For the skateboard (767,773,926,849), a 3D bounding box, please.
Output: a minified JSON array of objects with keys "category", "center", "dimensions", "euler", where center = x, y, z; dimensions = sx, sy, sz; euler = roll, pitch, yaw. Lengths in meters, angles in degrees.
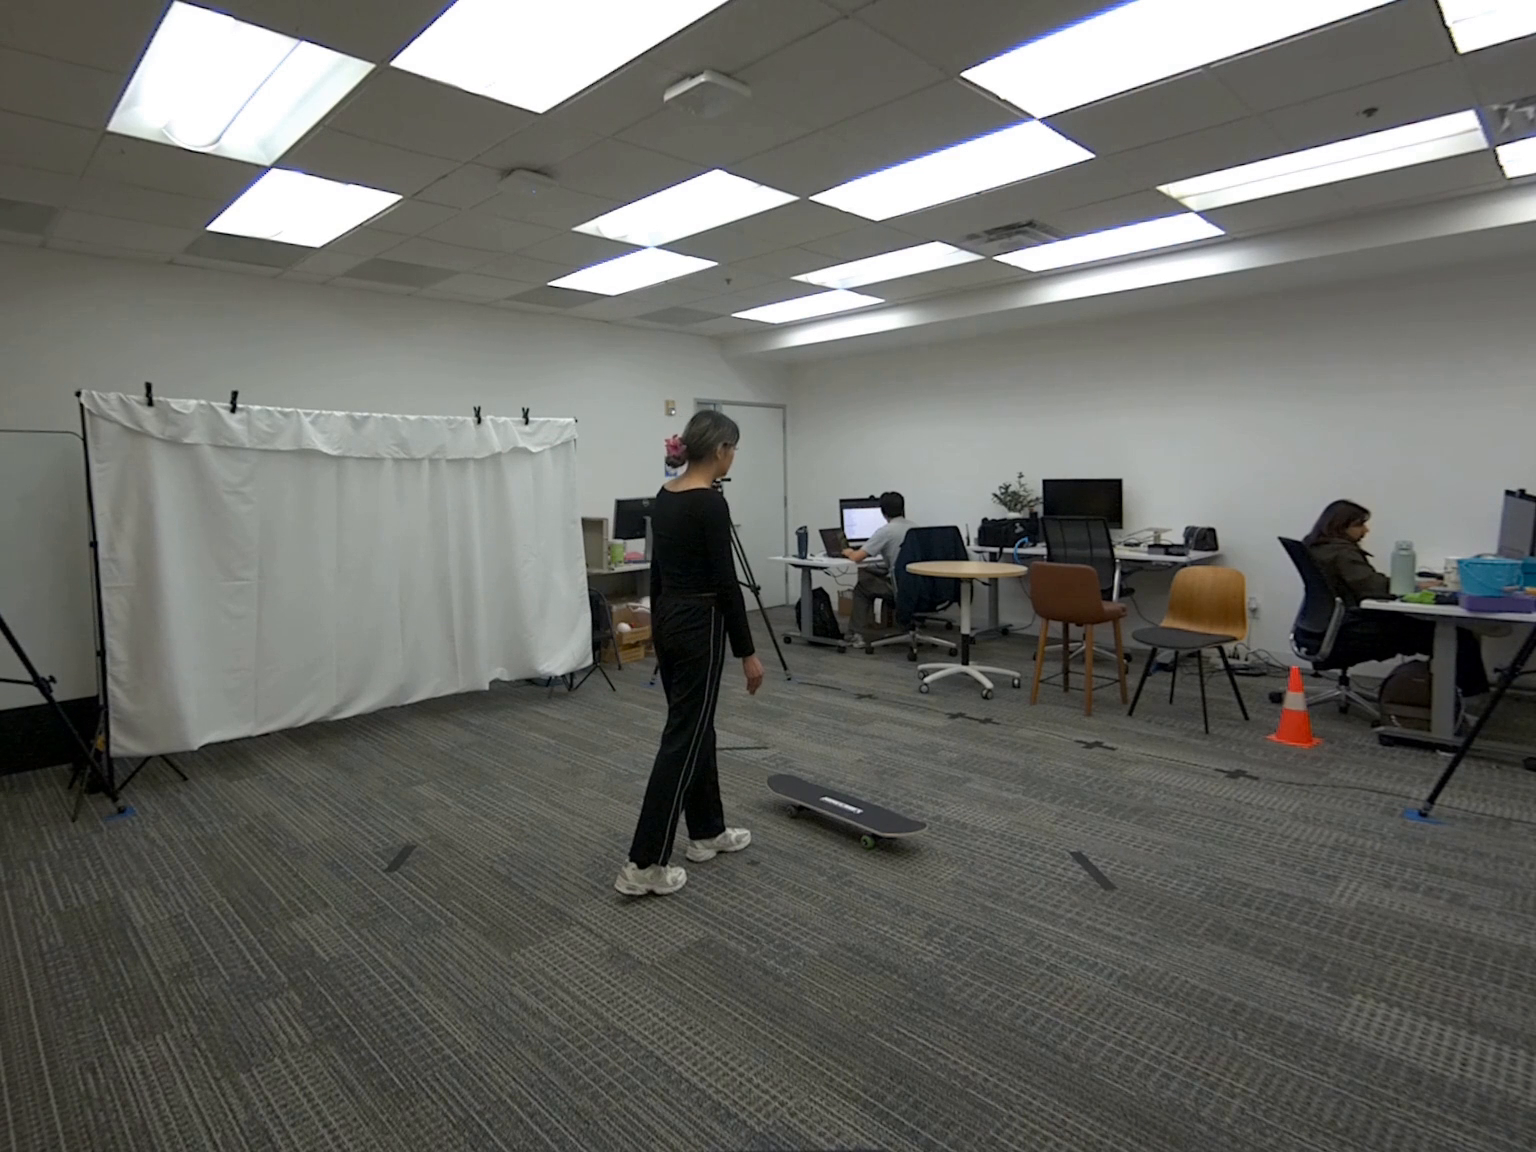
[{"category":"skateboard","center":[0.304,0.951,3.409],"dimensions":[0.188,0.110,0.810],"euler":[-5,7,-41]}]
